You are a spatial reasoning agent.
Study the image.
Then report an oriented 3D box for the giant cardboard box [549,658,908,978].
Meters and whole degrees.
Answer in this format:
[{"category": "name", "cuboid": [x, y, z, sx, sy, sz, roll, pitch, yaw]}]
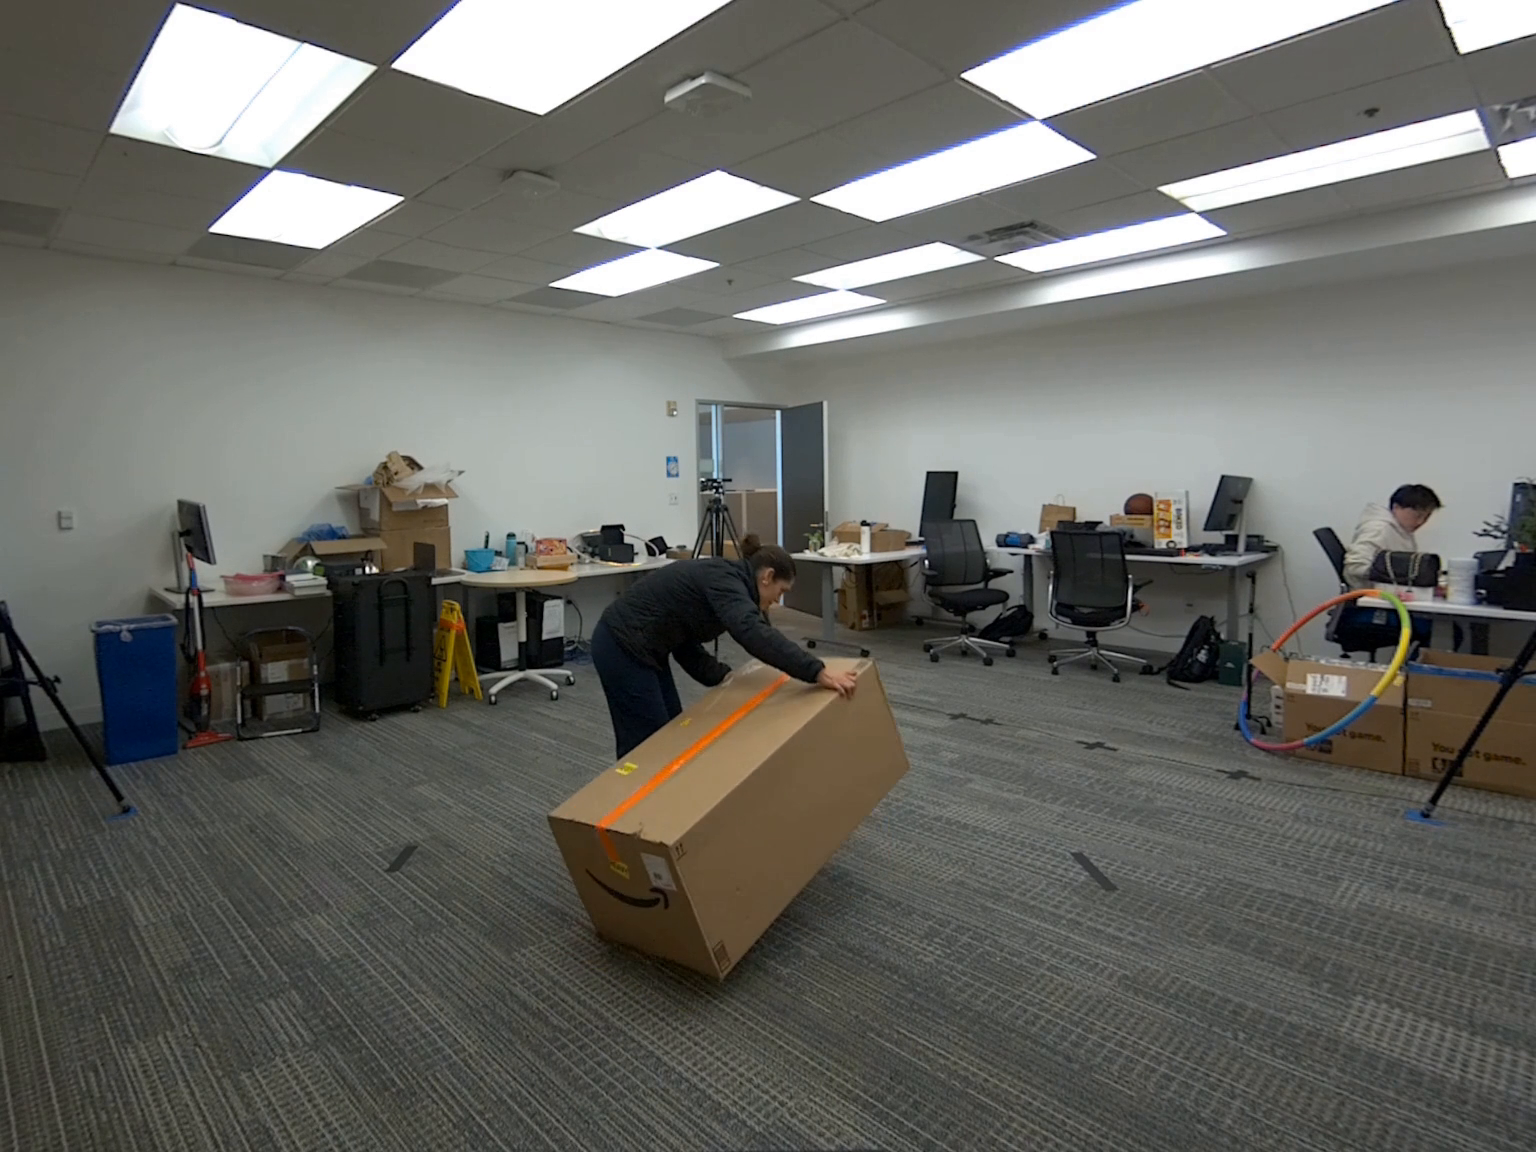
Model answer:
[{"category": "giant cardboard box", "cuboid": [-0.088, 0.684, 2.777, 0.592, 0.420, 1.015, -7, 19, 44]}]
